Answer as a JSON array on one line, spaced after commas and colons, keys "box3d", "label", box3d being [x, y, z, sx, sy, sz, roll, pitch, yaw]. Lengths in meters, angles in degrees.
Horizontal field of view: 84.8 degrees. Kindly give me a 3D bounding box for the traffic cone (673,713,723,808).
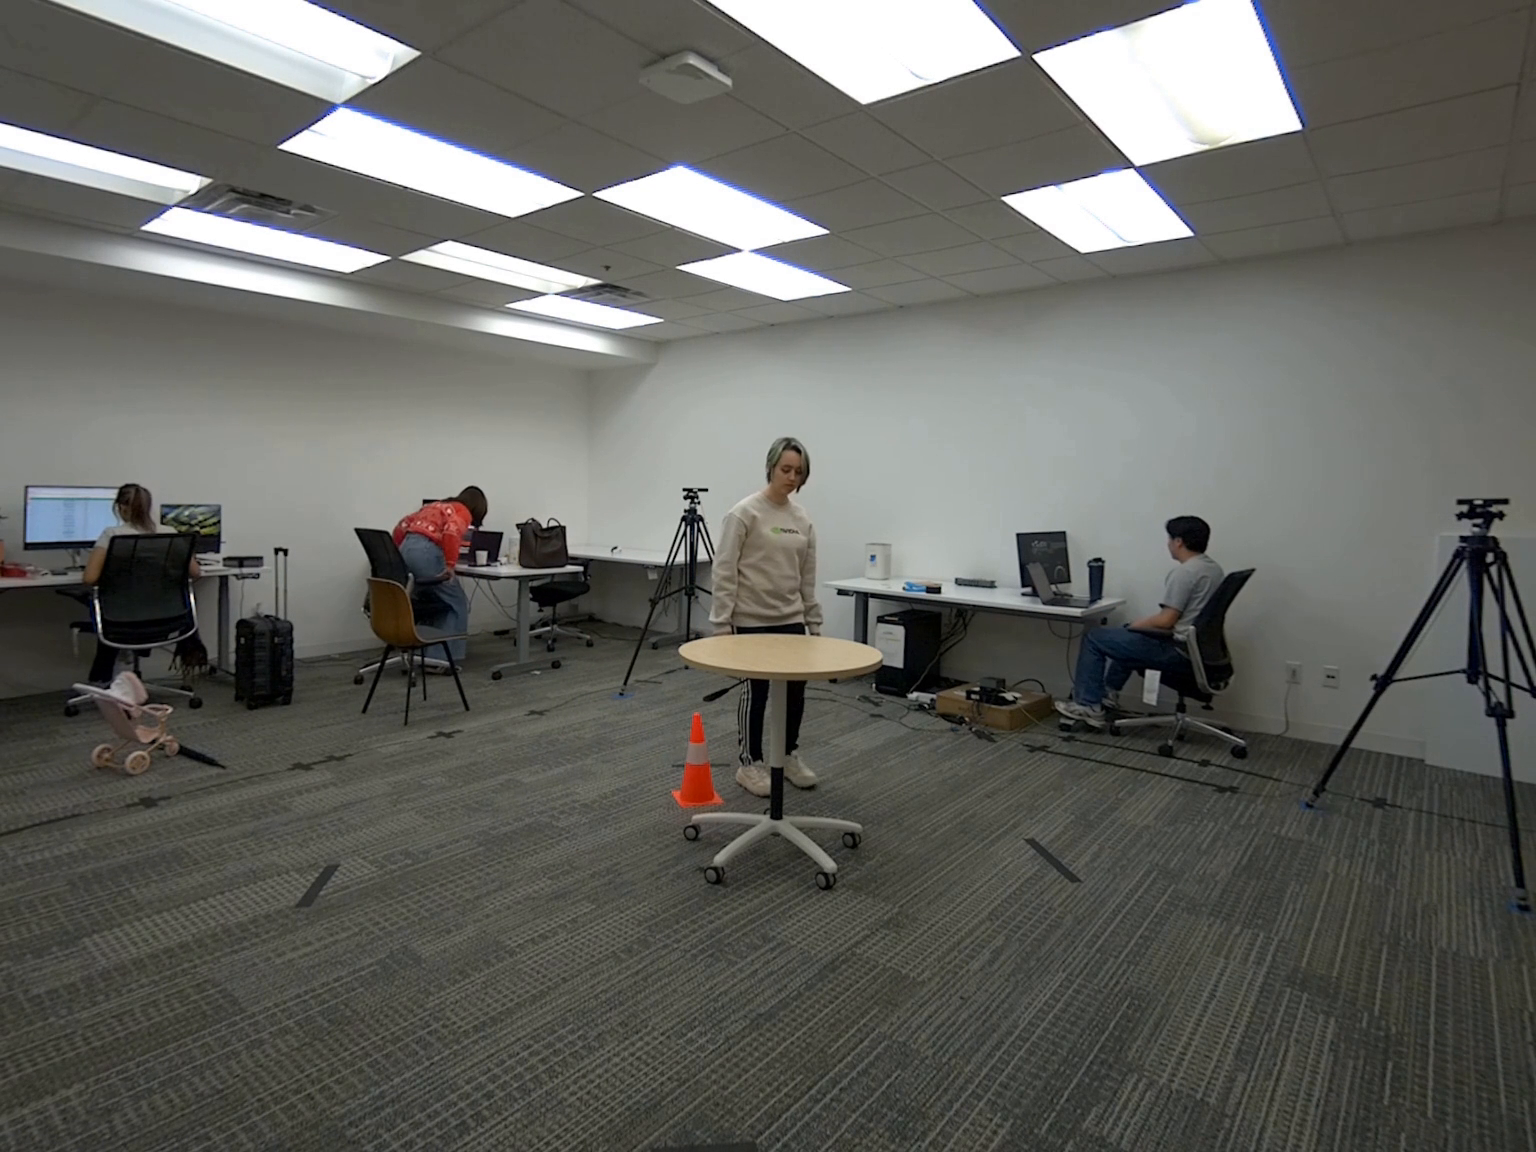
[{"box3d": [-0.333, 0.812, 3.841, 0.200, 0.383, 0.209, 0, 2, -17], "label": "traffic cone"}]
